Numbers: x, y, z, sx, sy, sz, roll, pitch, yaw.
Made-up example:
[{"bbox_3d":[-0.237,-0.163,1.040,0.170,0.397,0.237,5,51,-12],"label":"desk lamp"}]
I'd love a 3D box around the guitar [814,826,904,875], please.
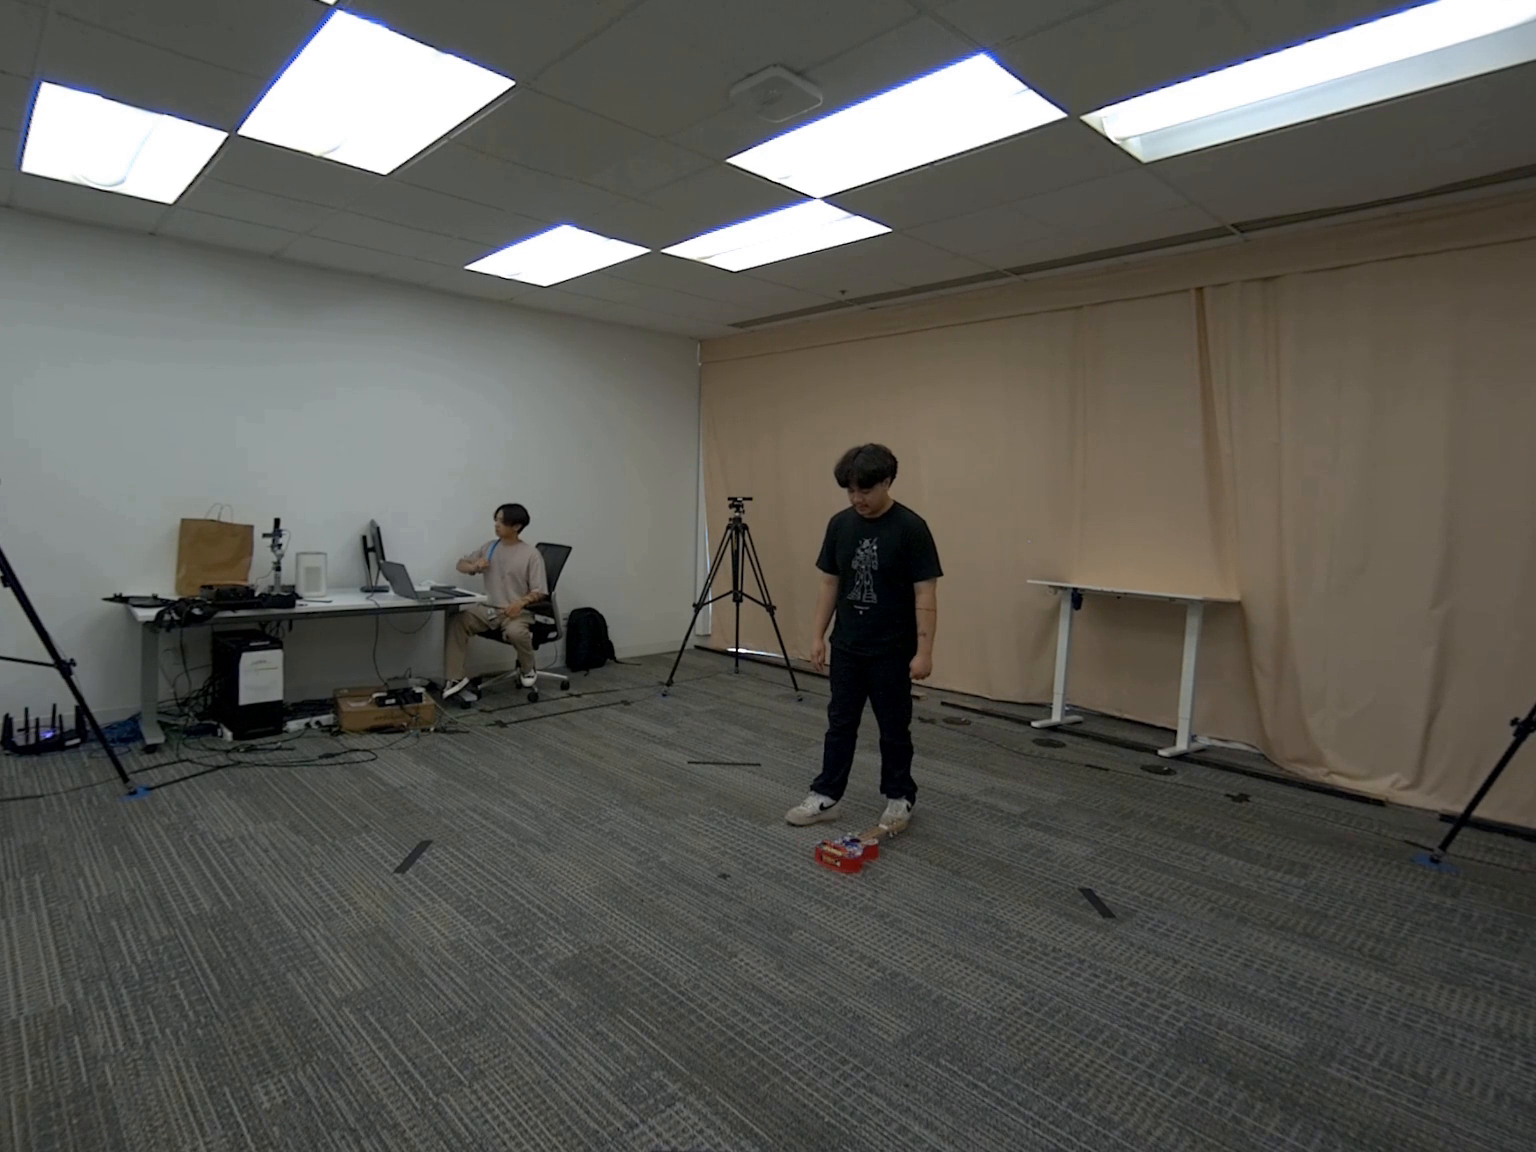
[{"bbox_3d":[0.402,1.065,3.347,0.487,0.070,0.198,-3,6,-38],"label":"guitar"}]
